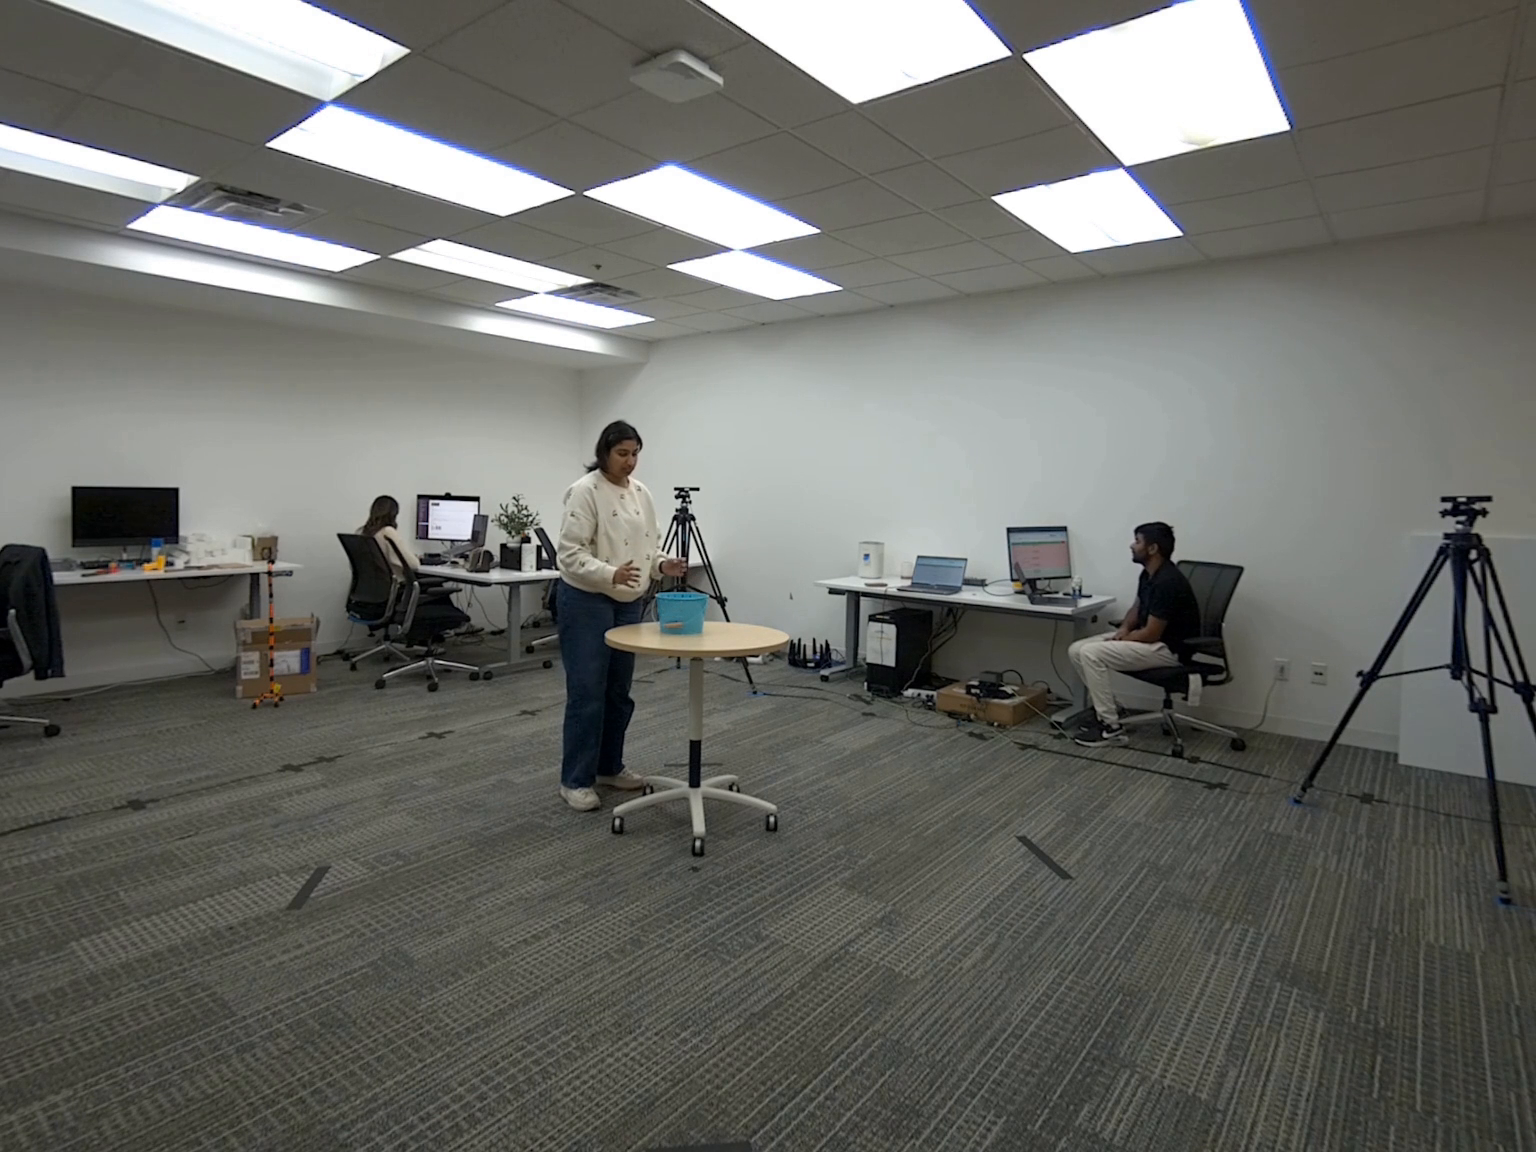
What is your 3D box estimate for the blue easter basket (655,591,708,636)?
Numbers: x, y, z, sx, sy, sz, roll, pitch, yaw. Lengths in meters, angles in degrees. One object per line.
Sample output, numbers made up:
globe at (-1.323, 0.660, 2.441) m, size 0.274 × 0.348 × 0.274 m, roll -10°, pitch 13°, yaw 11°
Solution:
blue easter basket at (-0.390, 0.158, 3.620) m, size 0.243 × 0.156 × 0.244 m, roll 1°, pitch 3°, yaw -2°
